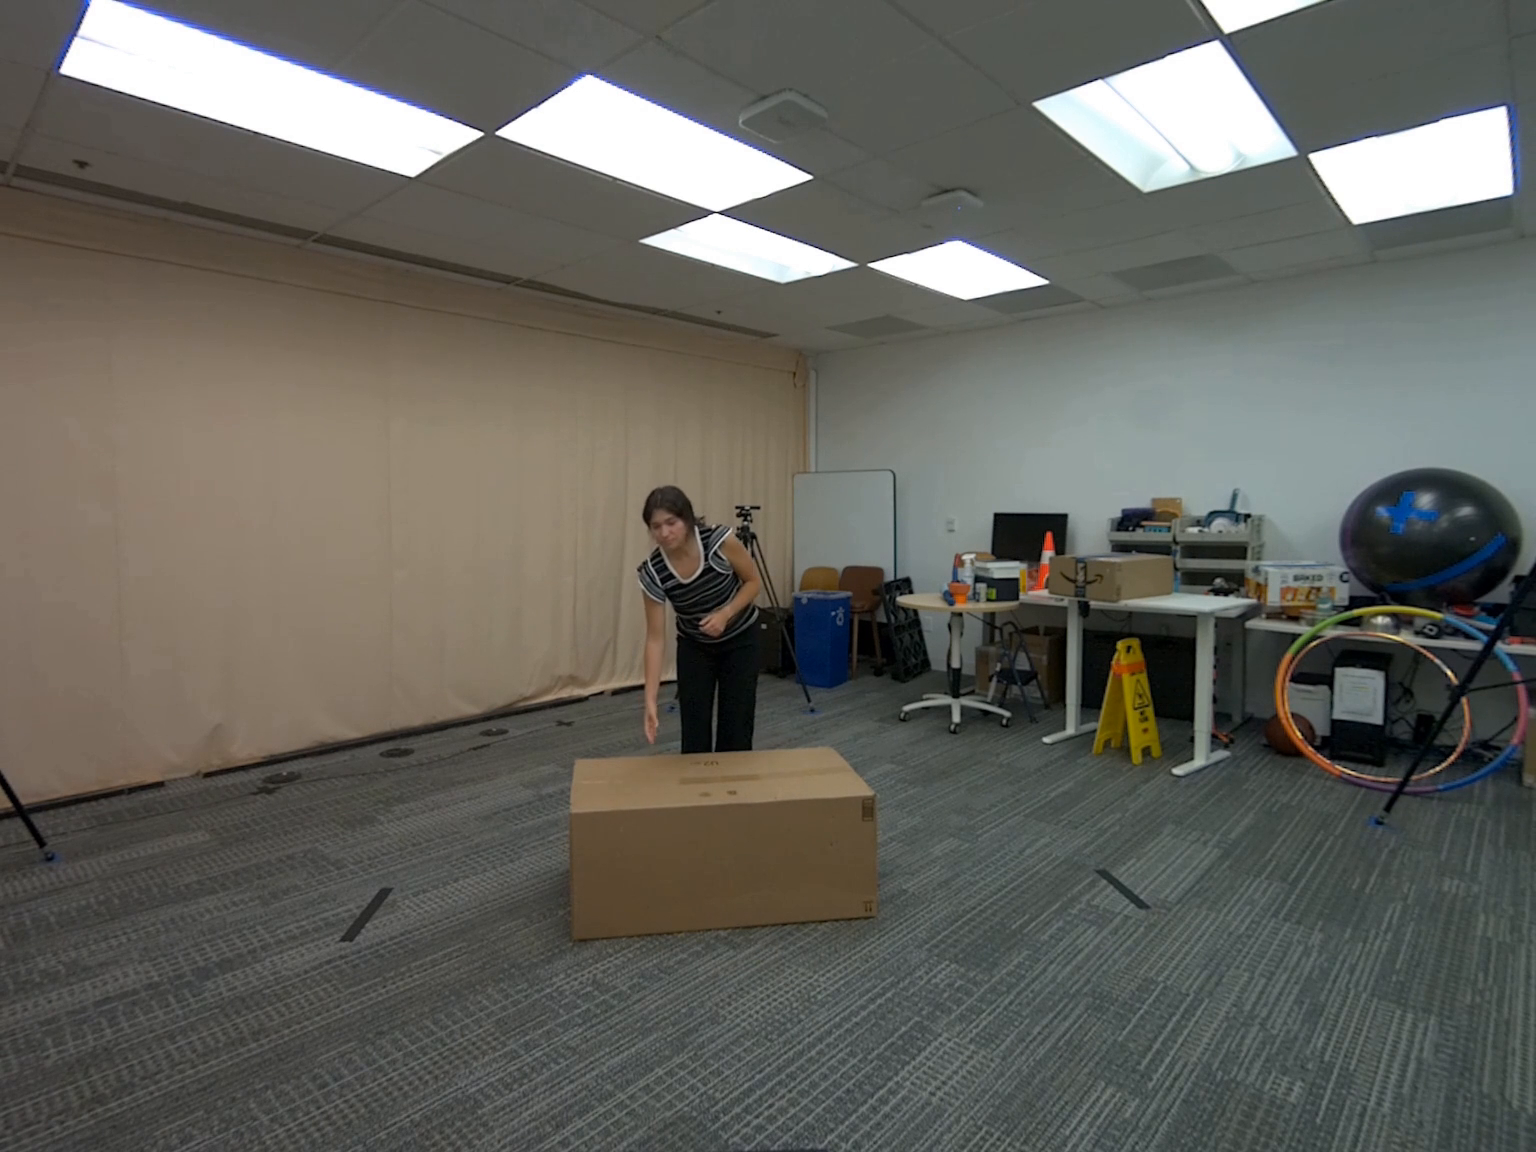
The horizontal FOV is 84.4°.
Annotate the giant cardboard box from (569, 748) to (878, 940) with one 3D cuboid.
[{"bbox_3d":[-0.188,0.929,3.040,1.016,0.425,0.584,-1,4,-9],"label":"giant cardboard box"}]
